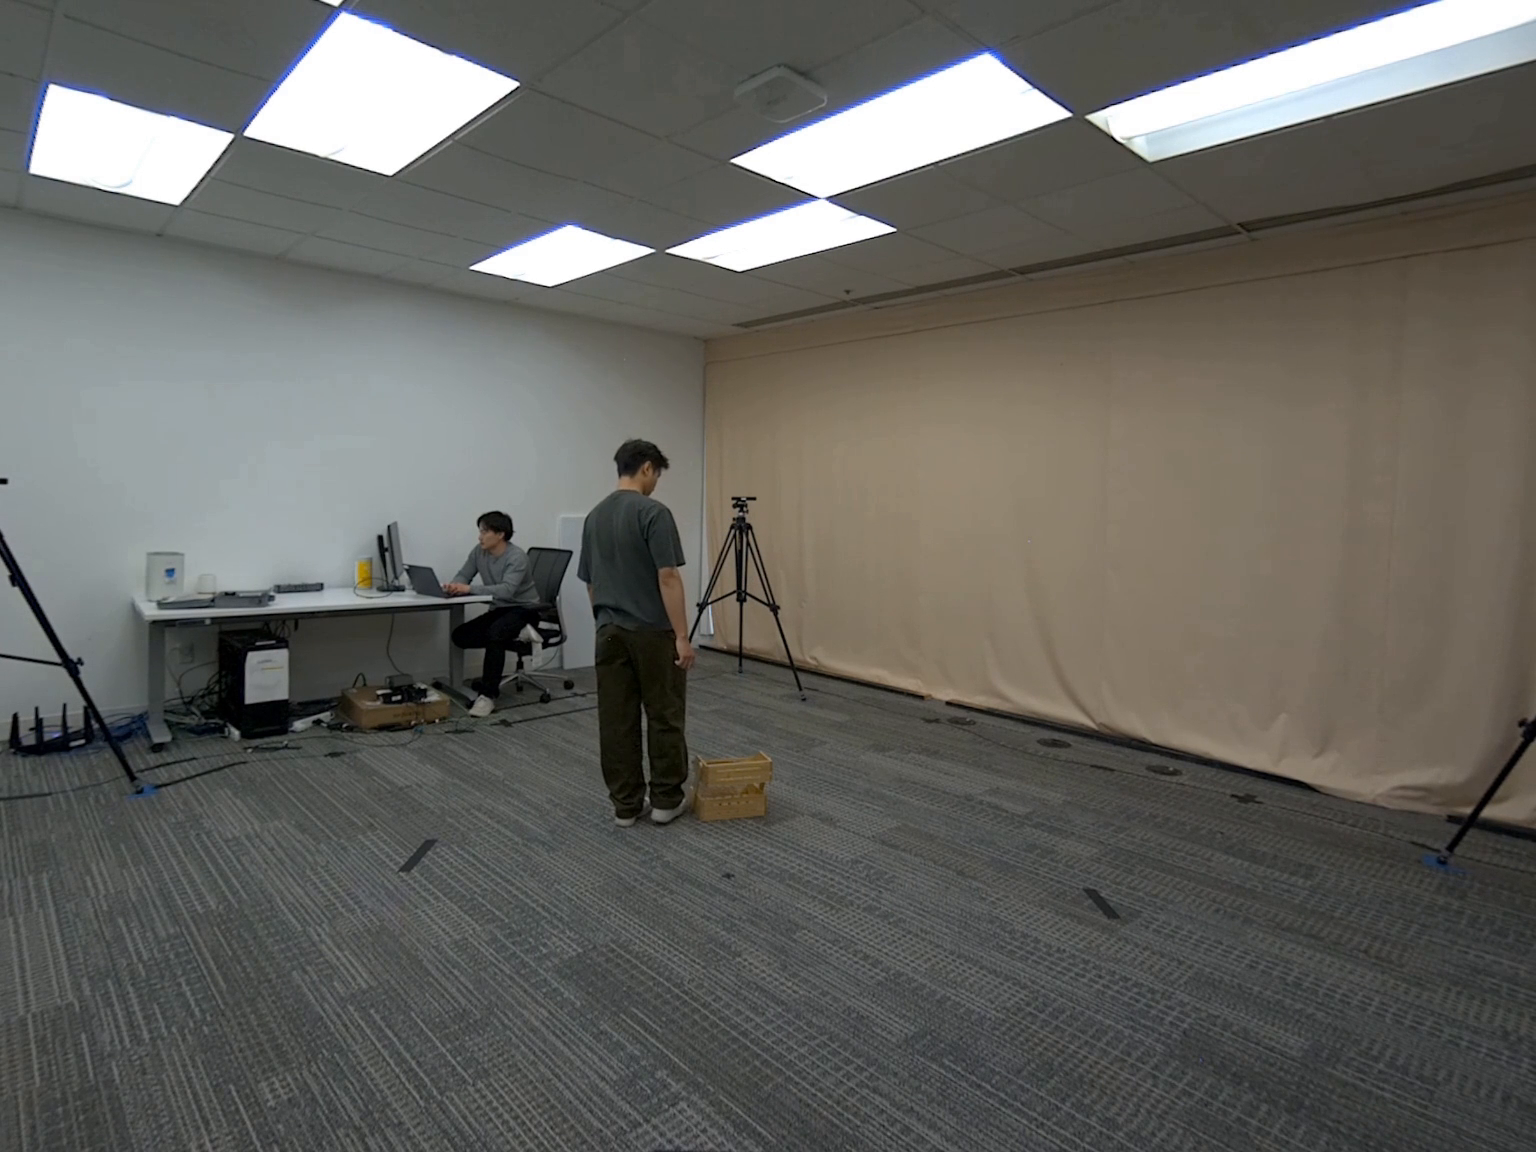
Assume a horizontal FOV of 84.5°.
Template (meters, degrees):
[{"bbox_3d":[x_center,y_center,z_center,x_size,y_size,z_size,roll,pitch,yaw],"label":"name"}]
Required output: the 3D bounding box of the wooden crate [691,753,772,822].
[{"bbox_3d":[-0.192,0.914,3.762,0.319,0.272,0.307,0,4,-21],"label":"wooden crate"}]
